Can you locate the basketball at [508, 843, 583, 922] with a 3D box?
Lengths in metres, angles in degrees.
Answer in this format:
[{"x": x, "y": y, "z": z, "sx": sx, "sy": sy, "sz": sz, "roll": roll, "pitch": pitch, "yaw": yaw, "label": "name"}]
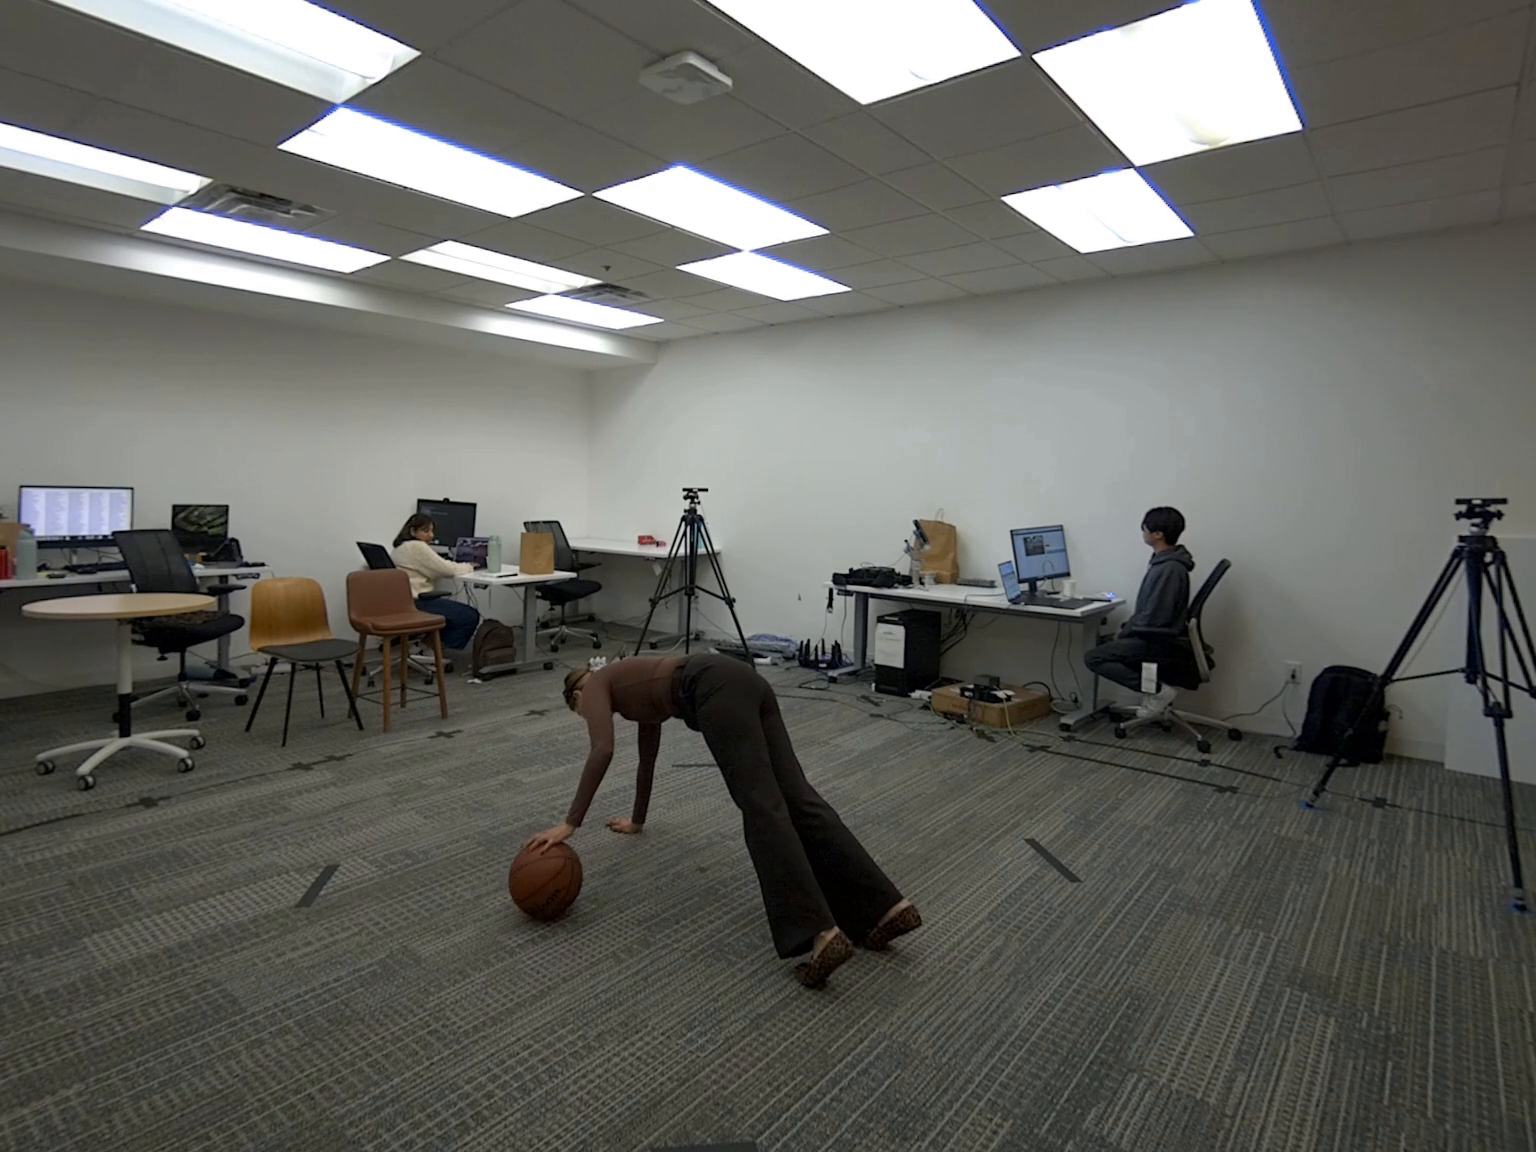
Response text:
[{"x": -0.729, "y": 0.977, "z": 2.775, "sx": 0.236, "sy": 0.235, "sz": 0.237, "roll": 1, "pitch": 4, "yaw": -2, "label": "basketball"}]
